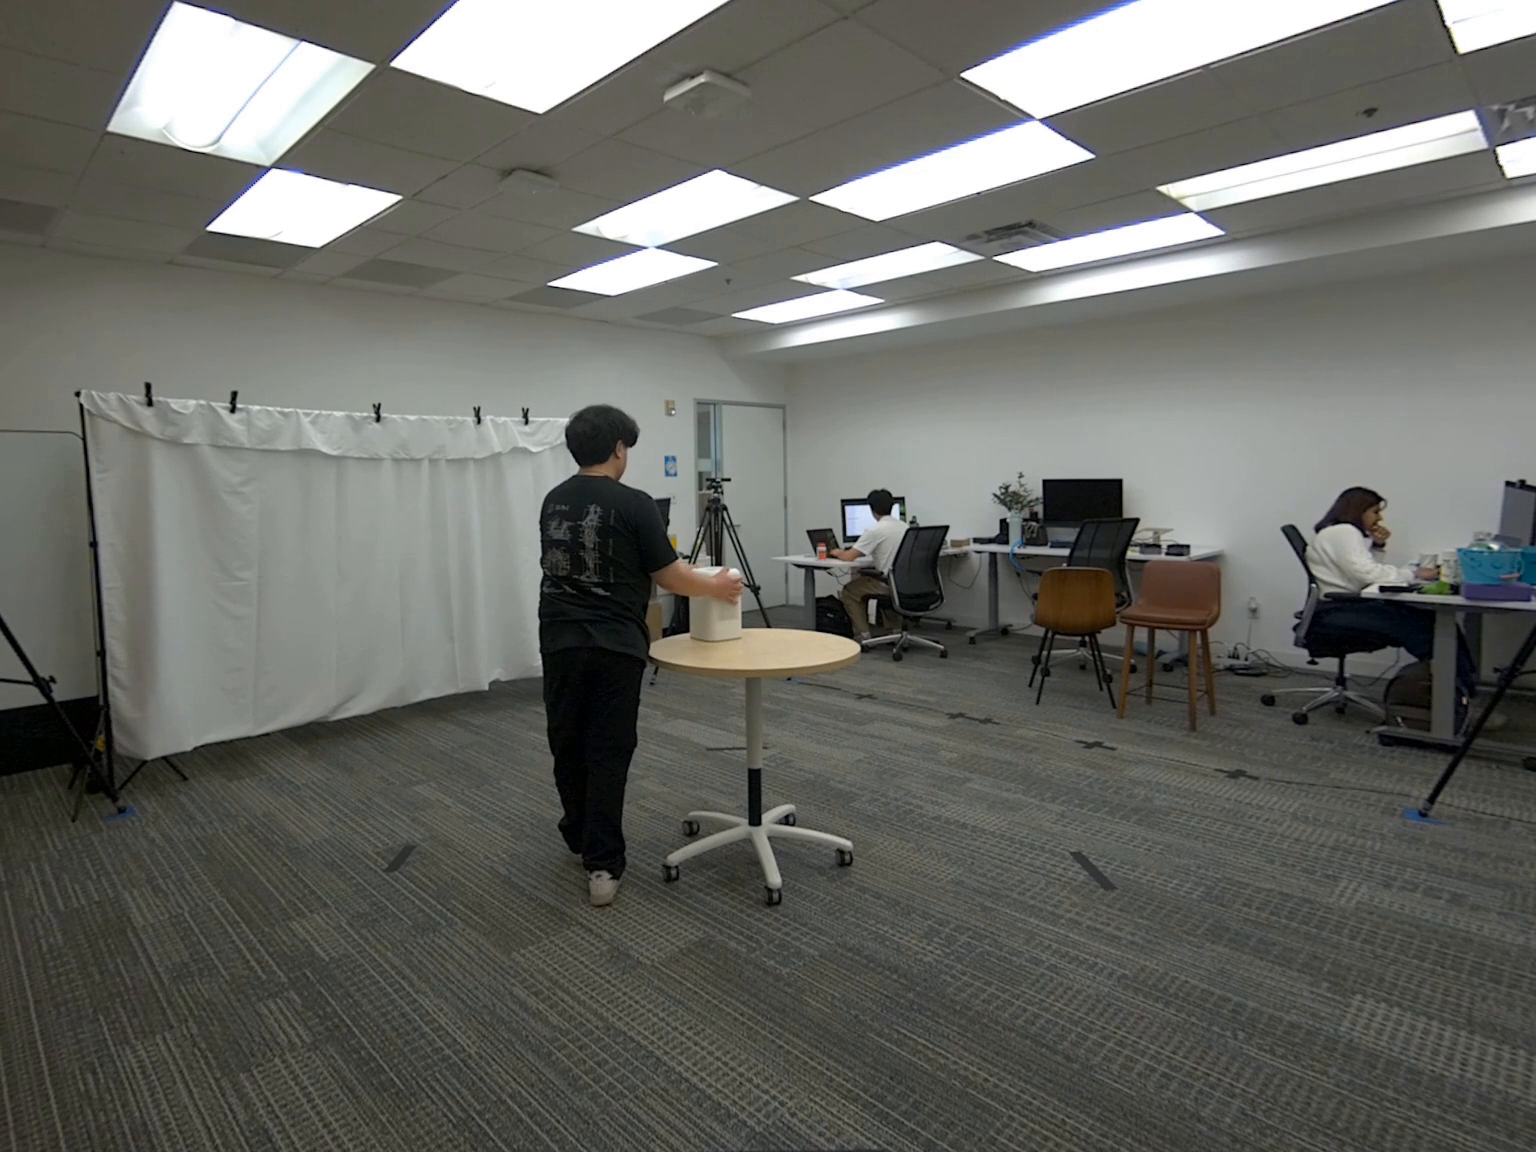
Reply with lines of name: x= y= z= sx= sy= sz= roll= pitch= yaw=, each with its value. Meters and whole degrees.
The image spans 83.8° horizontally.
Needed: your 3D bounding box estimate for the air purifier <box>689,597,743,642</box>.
air purifier: x=-0.196 y=0.104 z=3.255 sx=0.167 sy=0.265 sz=0.175 roll=-2 pitch=2 yaw=-30
